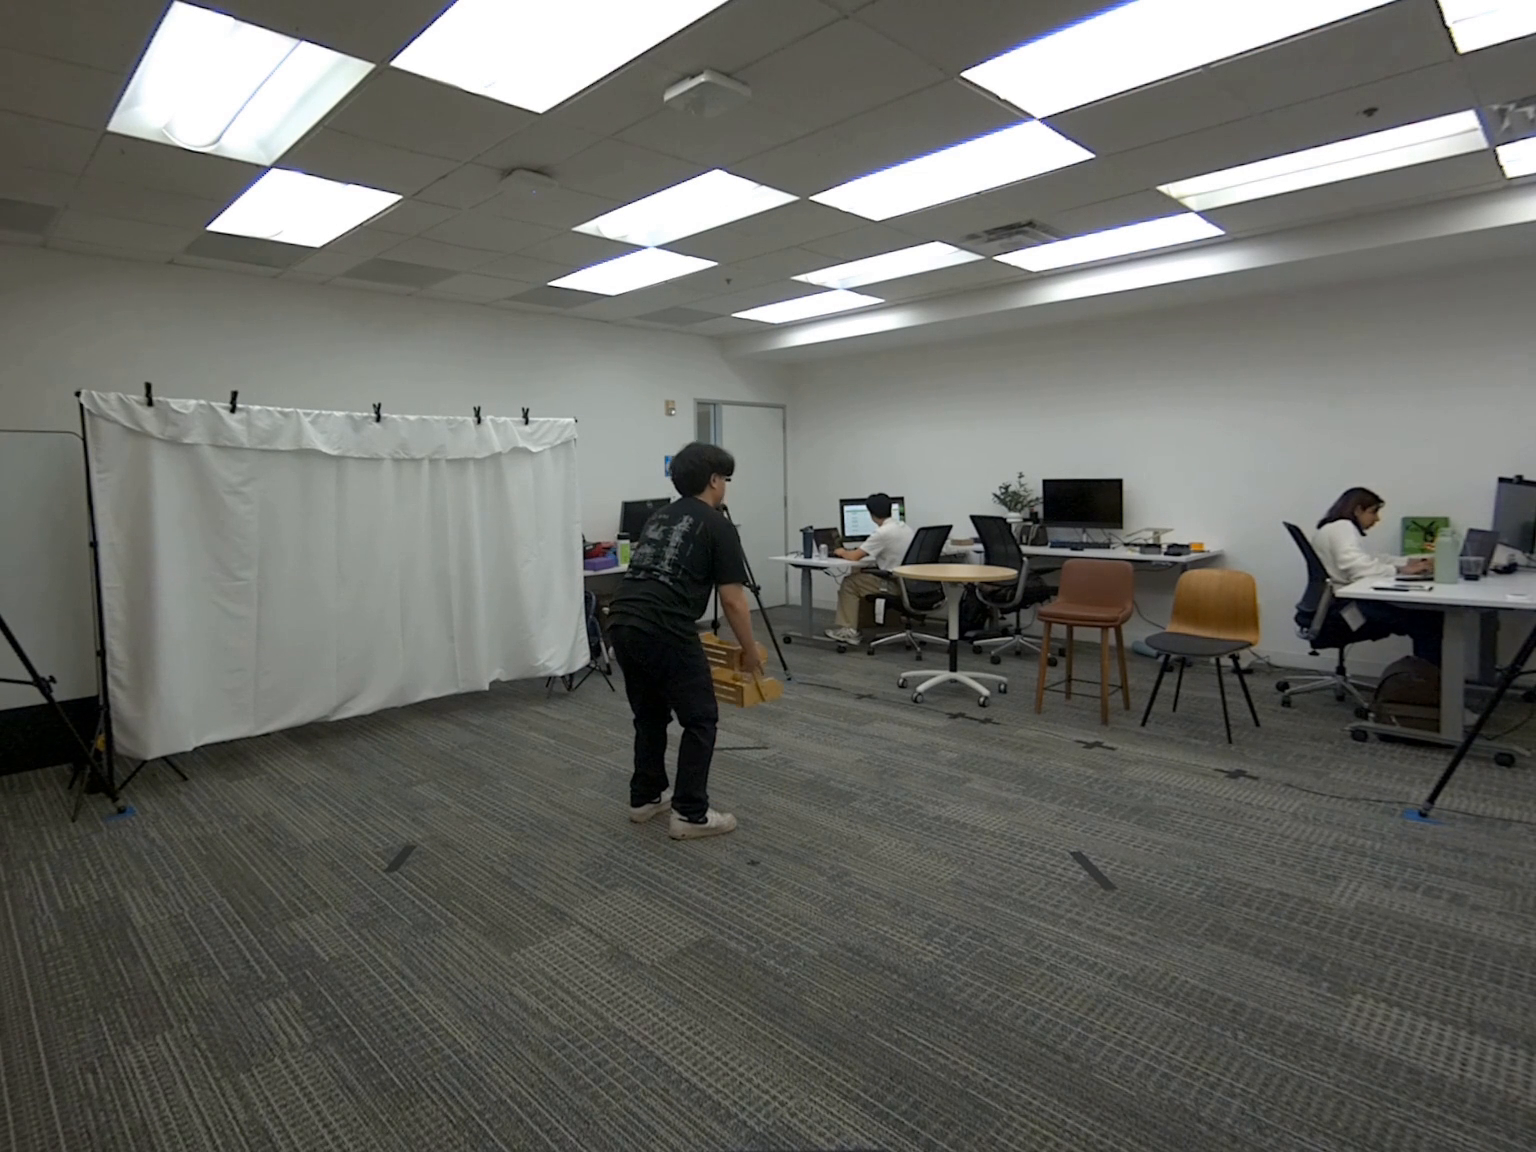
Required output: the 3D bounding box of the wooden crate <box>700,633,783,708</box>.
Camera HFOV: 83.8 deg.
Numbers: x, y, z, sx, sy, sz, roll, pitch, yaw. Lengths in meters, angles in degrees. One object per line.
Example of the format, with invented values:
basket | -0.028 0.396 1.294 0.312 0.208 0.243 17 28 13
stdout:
wooden crate | -0.144 0.389 3.697 0.335 0.271 0.294 6 10 43
